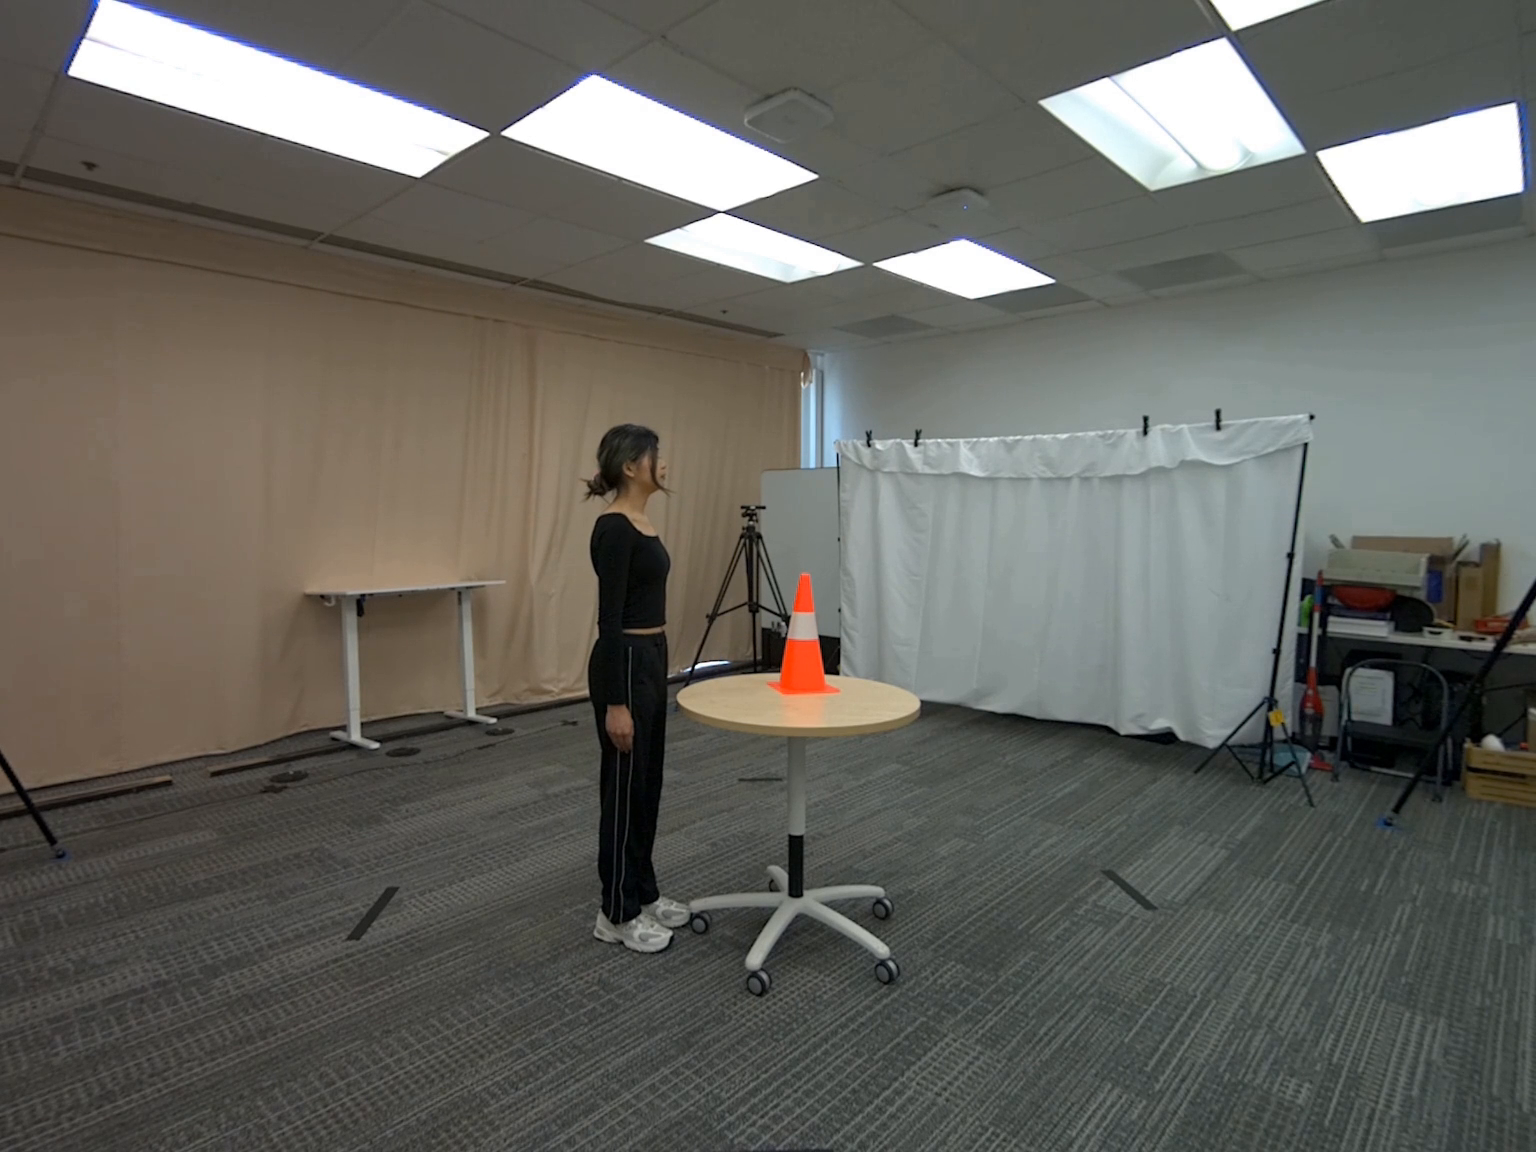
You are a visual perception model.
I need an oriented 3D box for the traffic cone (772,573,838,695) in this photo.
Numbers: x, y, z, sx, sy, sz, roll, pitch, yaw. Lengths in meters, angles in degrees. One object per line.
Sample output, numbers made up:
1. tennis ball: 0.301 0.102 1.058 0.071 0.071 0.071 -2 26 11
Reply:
1. traffic cone: 0.120 0.189 2.797 0.200 0.383 0.208 1 3 -15
